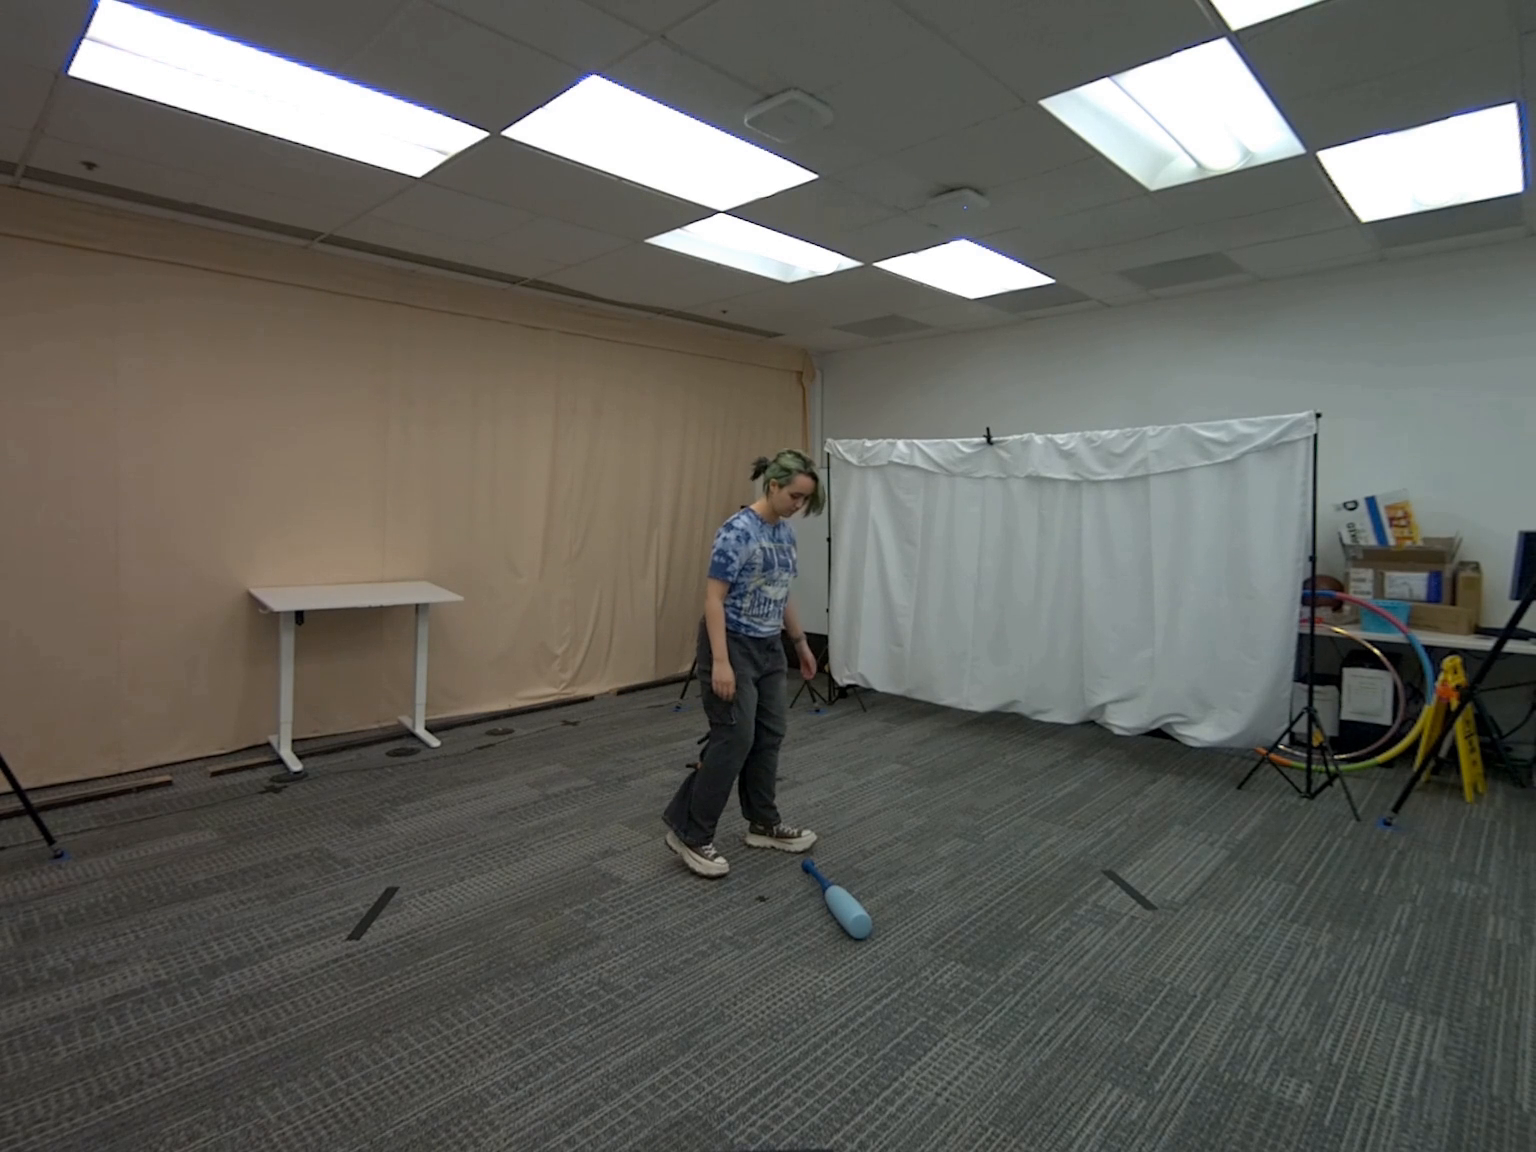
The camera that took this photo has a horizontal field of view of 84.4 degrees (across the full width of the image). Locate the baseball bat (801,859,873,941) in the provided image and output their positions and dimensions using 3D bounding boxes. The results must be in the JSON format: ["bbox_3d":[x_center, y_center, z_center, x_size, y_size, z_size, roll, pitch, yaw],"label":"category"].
[{"bbox_3d":[0.230,1.112,2.944,0.088,0.089,0.550,-1,1,-14],"label":"baseball bat"}]
